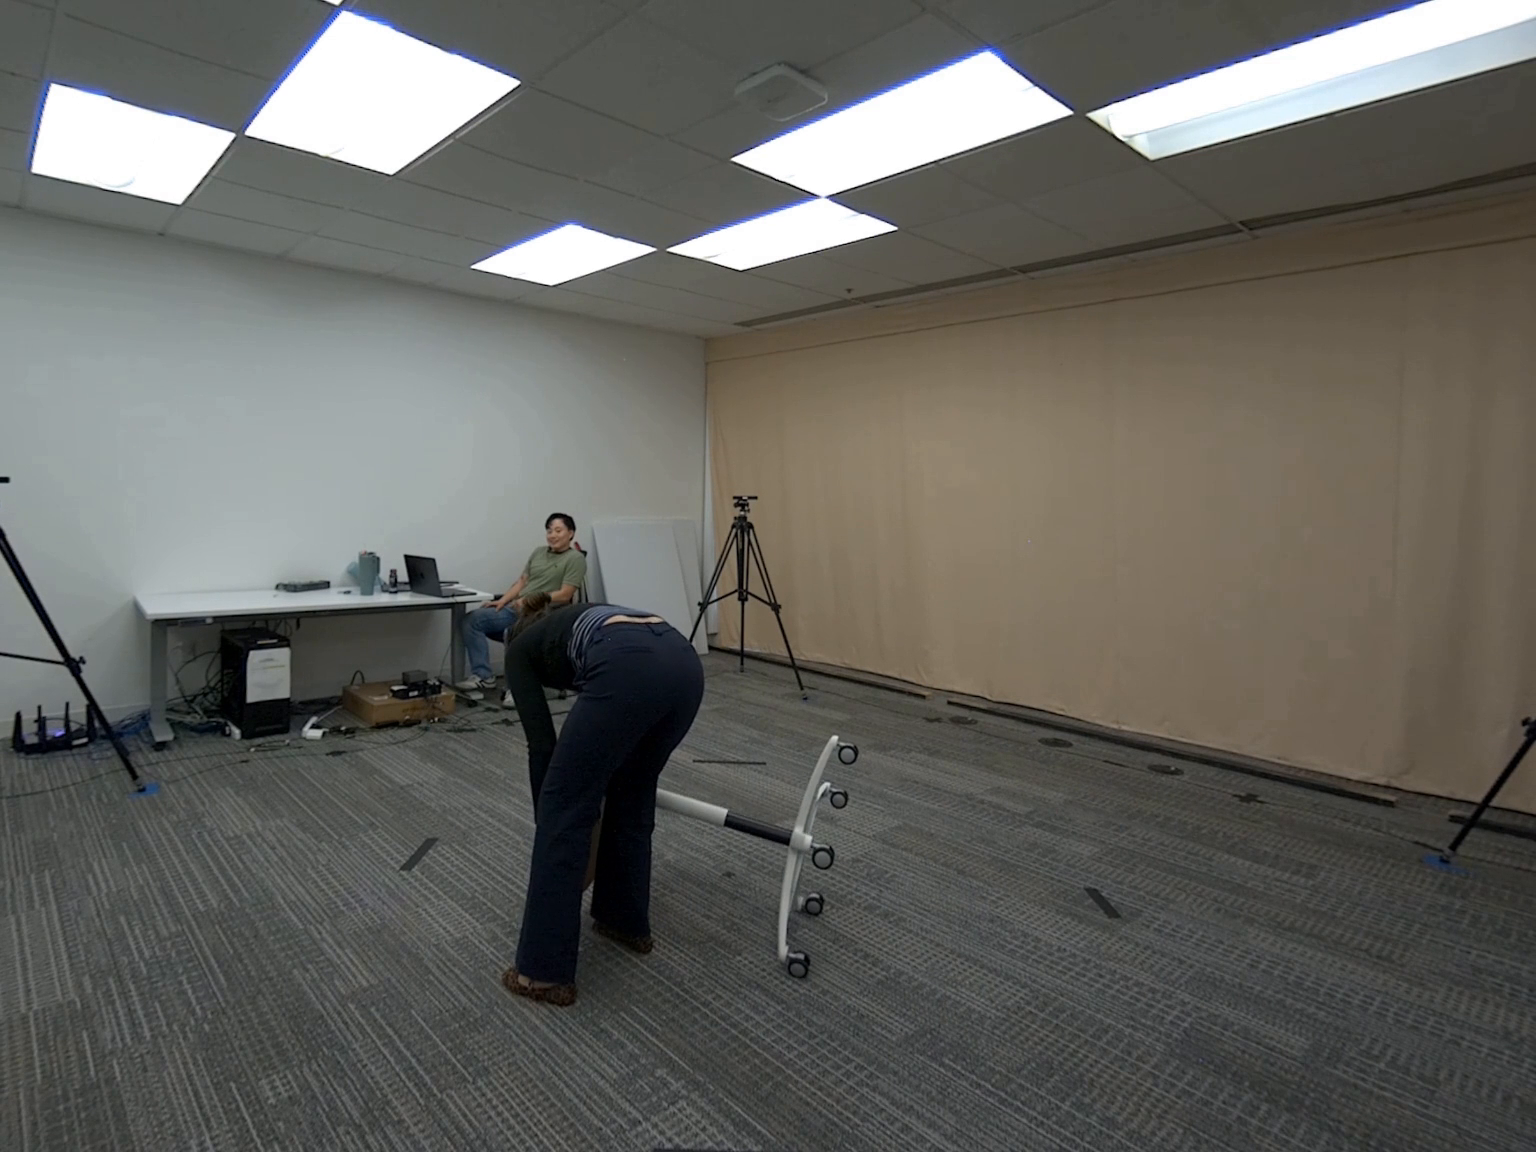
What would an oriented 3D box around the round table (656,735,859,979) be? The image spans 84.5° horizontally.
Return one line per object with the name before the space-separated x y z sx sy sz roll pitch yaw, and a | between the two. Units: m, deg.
round table | -0.173 0.775 2.718 0.802 0.761 0.759 14 7 10
